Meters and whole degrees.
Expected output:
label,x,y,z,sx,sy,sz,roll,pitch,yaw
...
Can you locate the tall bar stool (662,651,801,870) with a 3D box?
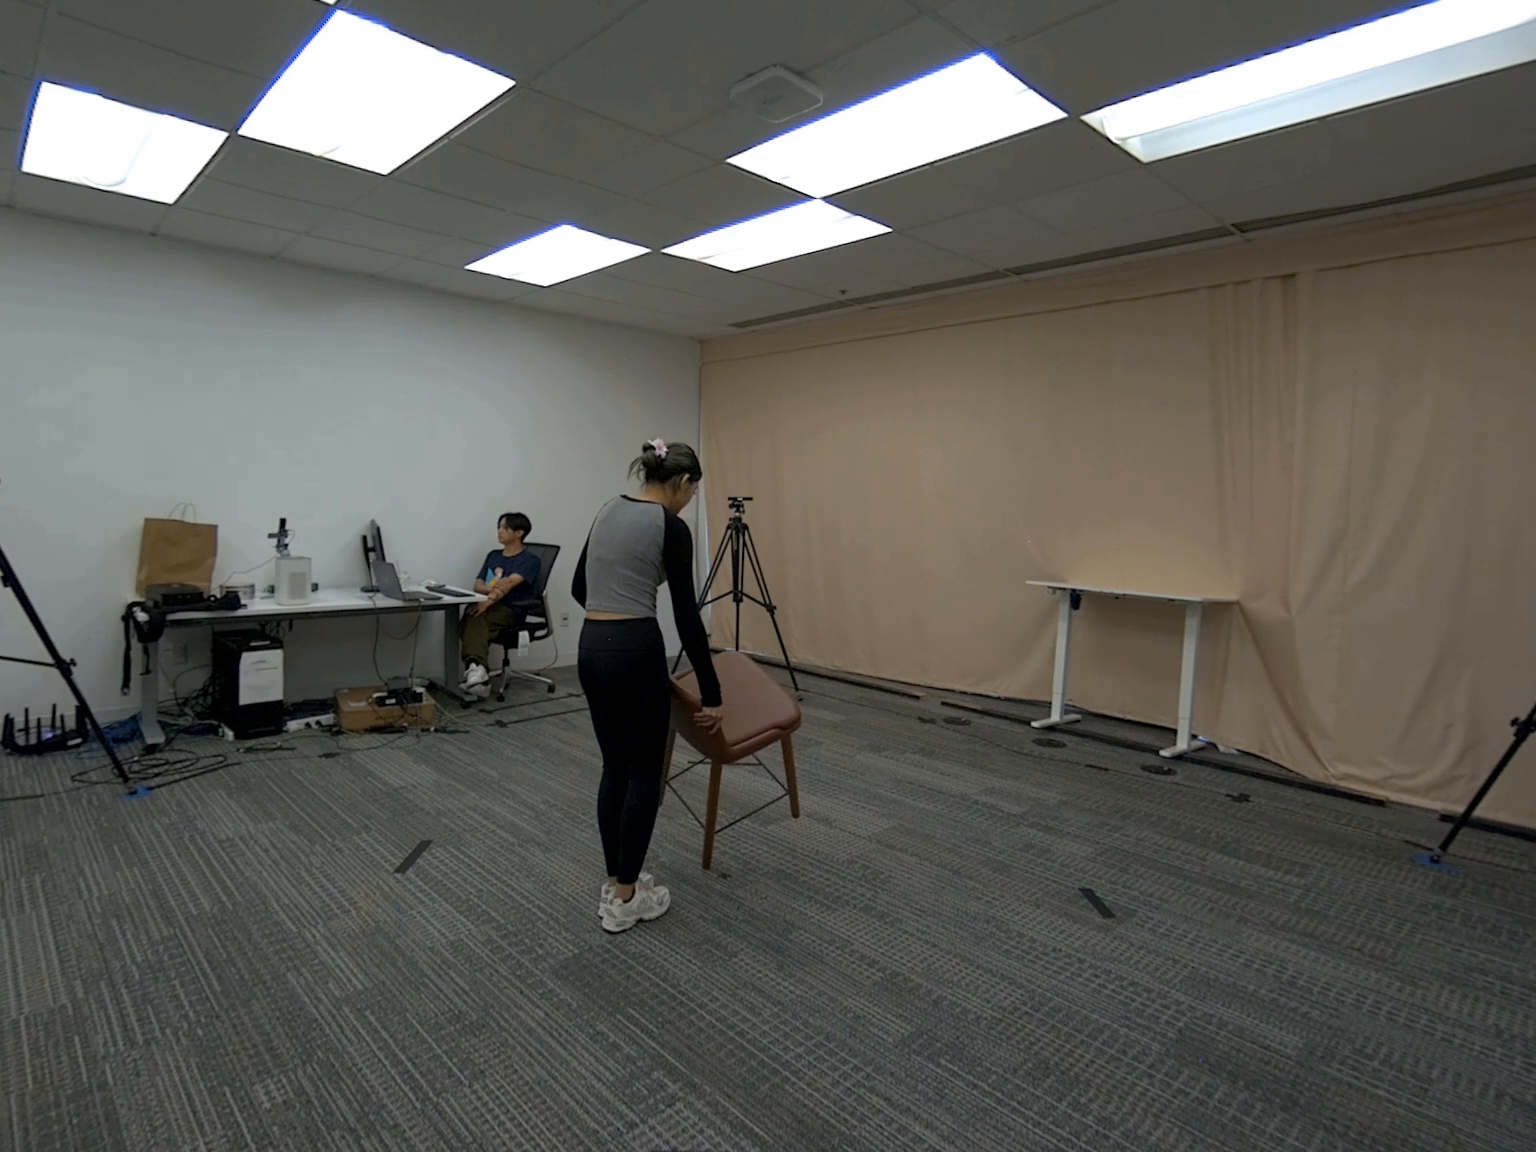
label,x,y,z,sx,sy,sz,roll,pitch,yaw
tall bar stool,-0.171,0.591,3.137,0.462,0.871,0.471,-23,41,-29
